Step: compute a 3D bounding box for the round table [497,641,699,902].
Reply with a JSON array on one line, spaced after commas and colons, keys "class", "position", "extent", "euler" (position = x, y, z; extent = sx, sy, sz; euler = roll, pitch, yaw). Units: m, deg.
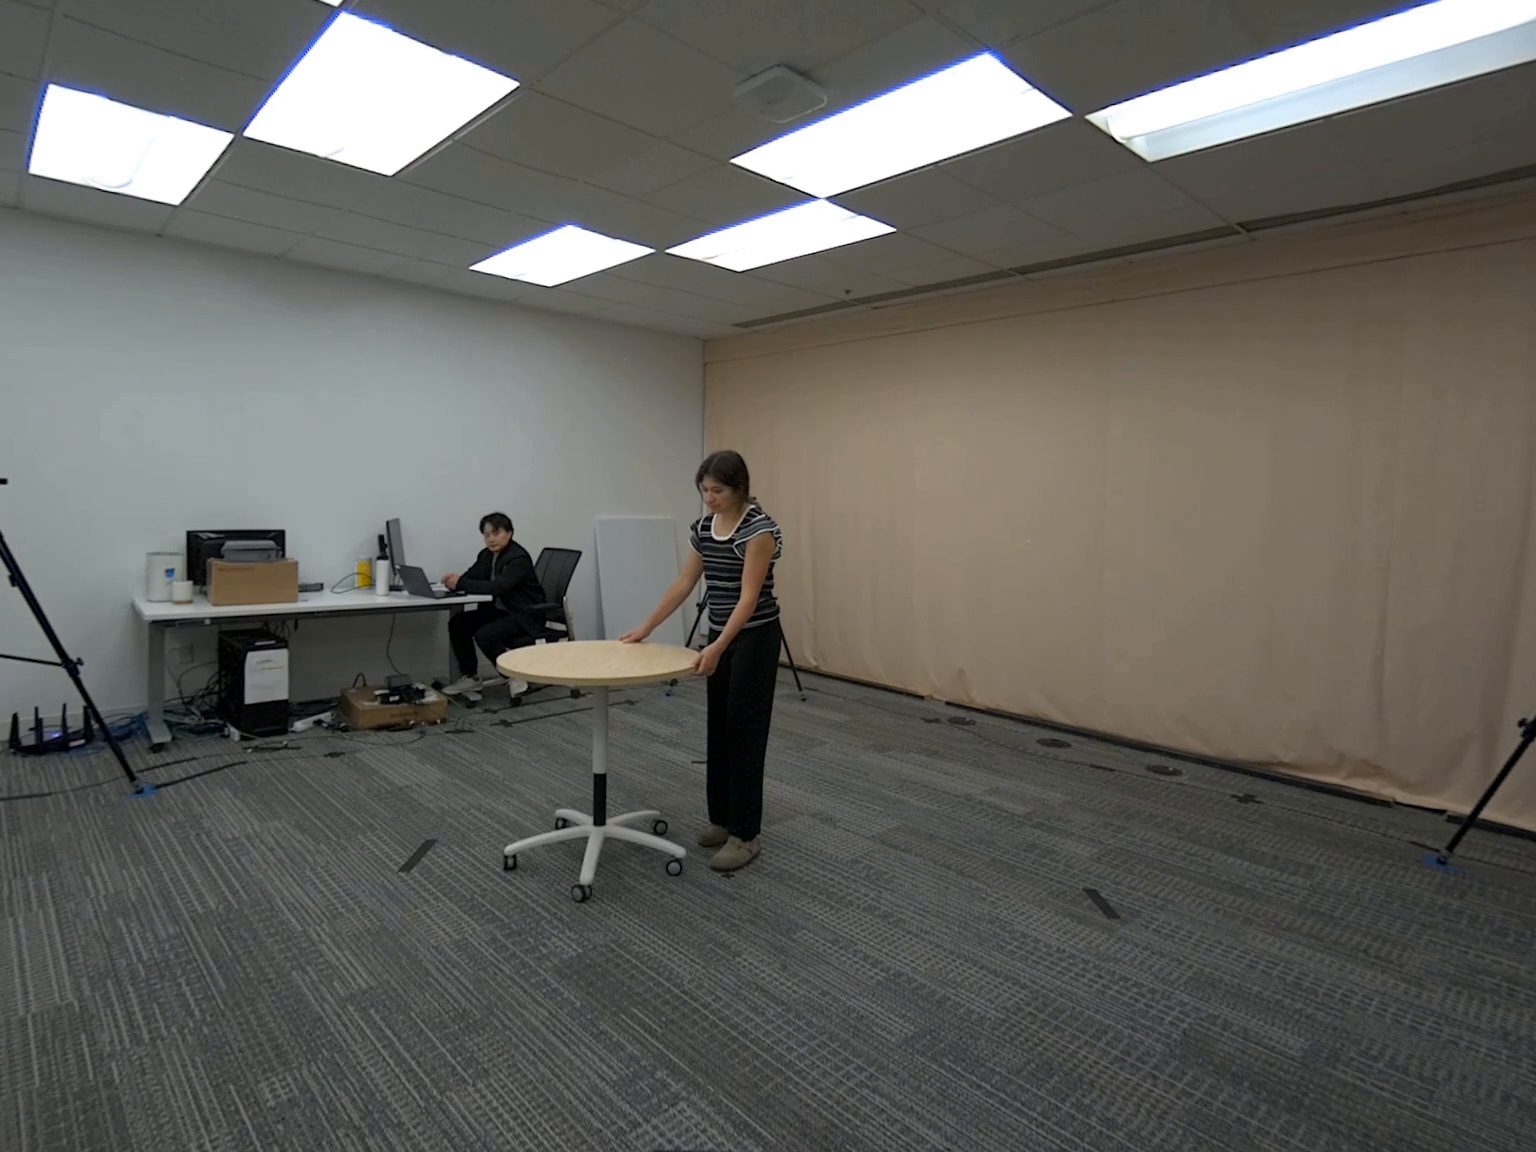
[{"class": "round table", "position": [-0.653, 0.694, 3.190], "extent": [0.784, 0.784, 0.788], "euler": [2, 4, -1]}]
